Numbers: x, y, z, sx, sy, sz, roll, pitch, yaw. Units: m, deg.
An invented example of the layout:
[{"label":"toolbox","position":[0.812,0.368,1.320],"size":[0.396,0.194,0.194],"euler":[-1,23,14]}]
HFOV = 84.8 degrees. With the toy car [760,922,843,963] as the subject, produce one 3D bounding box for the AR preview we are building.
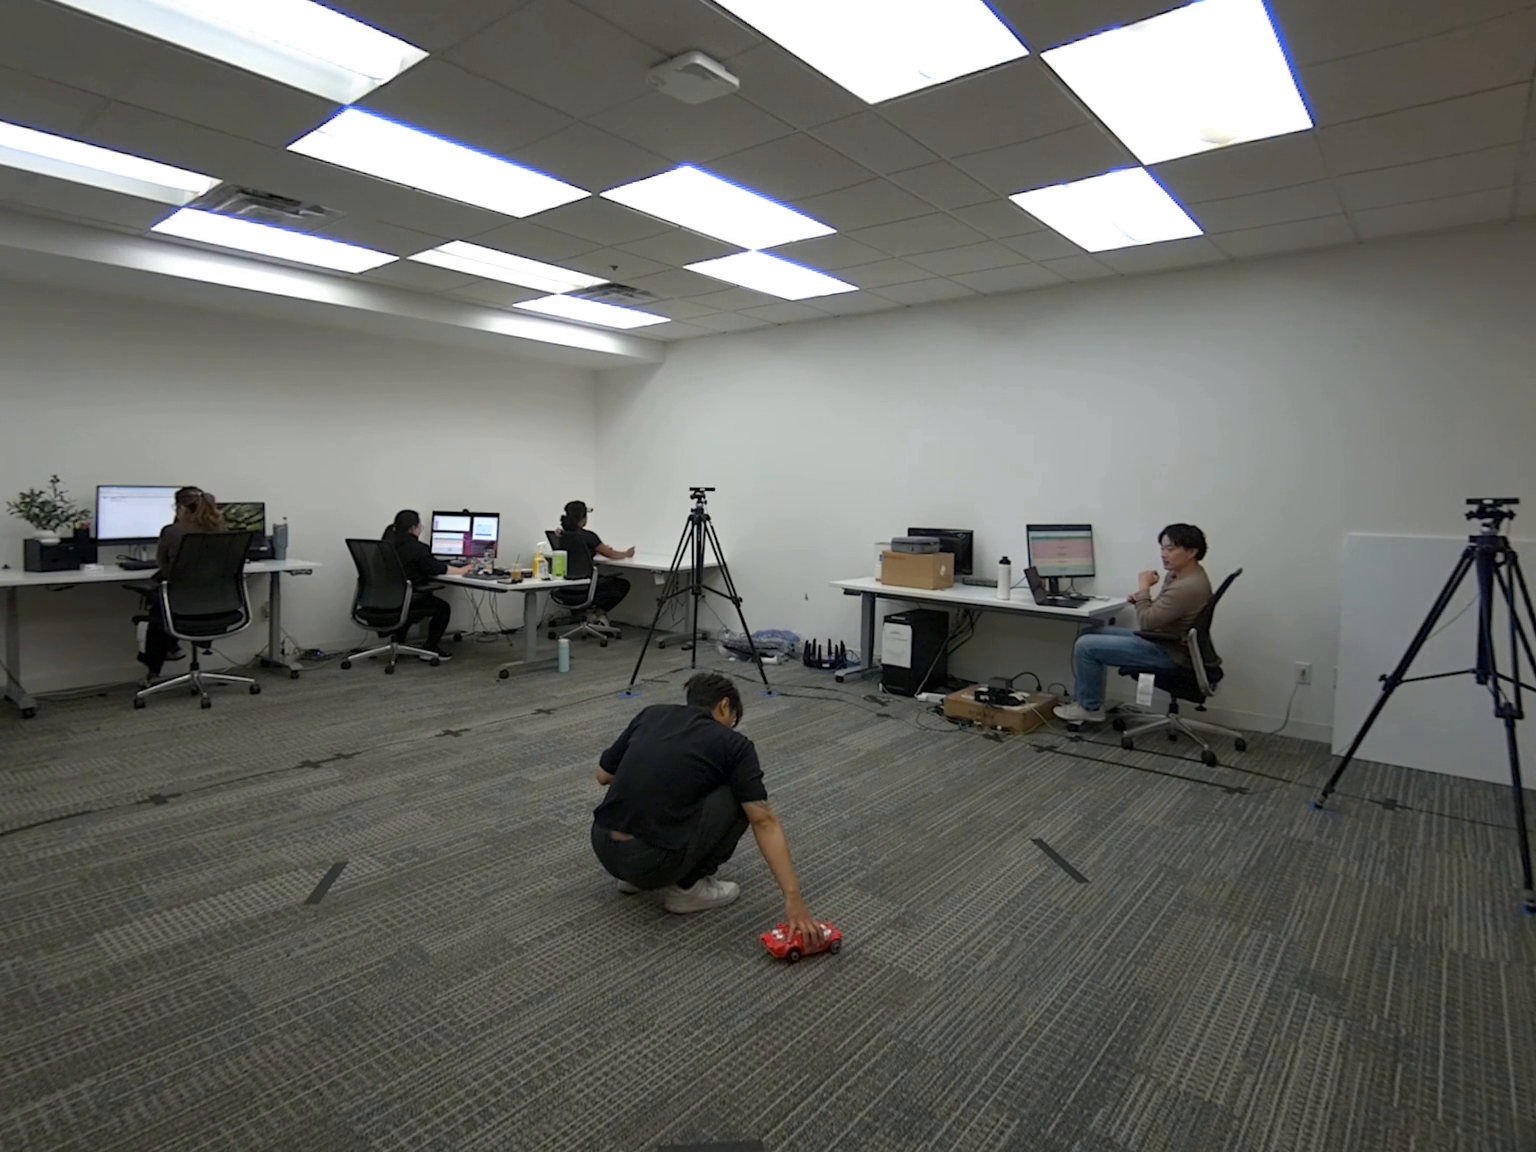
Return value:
[{"label":"toy car","position":[0.092,1.096,2.568],"size":[0.247,0.083,0.134],"euler":[11,1,-26]}]
